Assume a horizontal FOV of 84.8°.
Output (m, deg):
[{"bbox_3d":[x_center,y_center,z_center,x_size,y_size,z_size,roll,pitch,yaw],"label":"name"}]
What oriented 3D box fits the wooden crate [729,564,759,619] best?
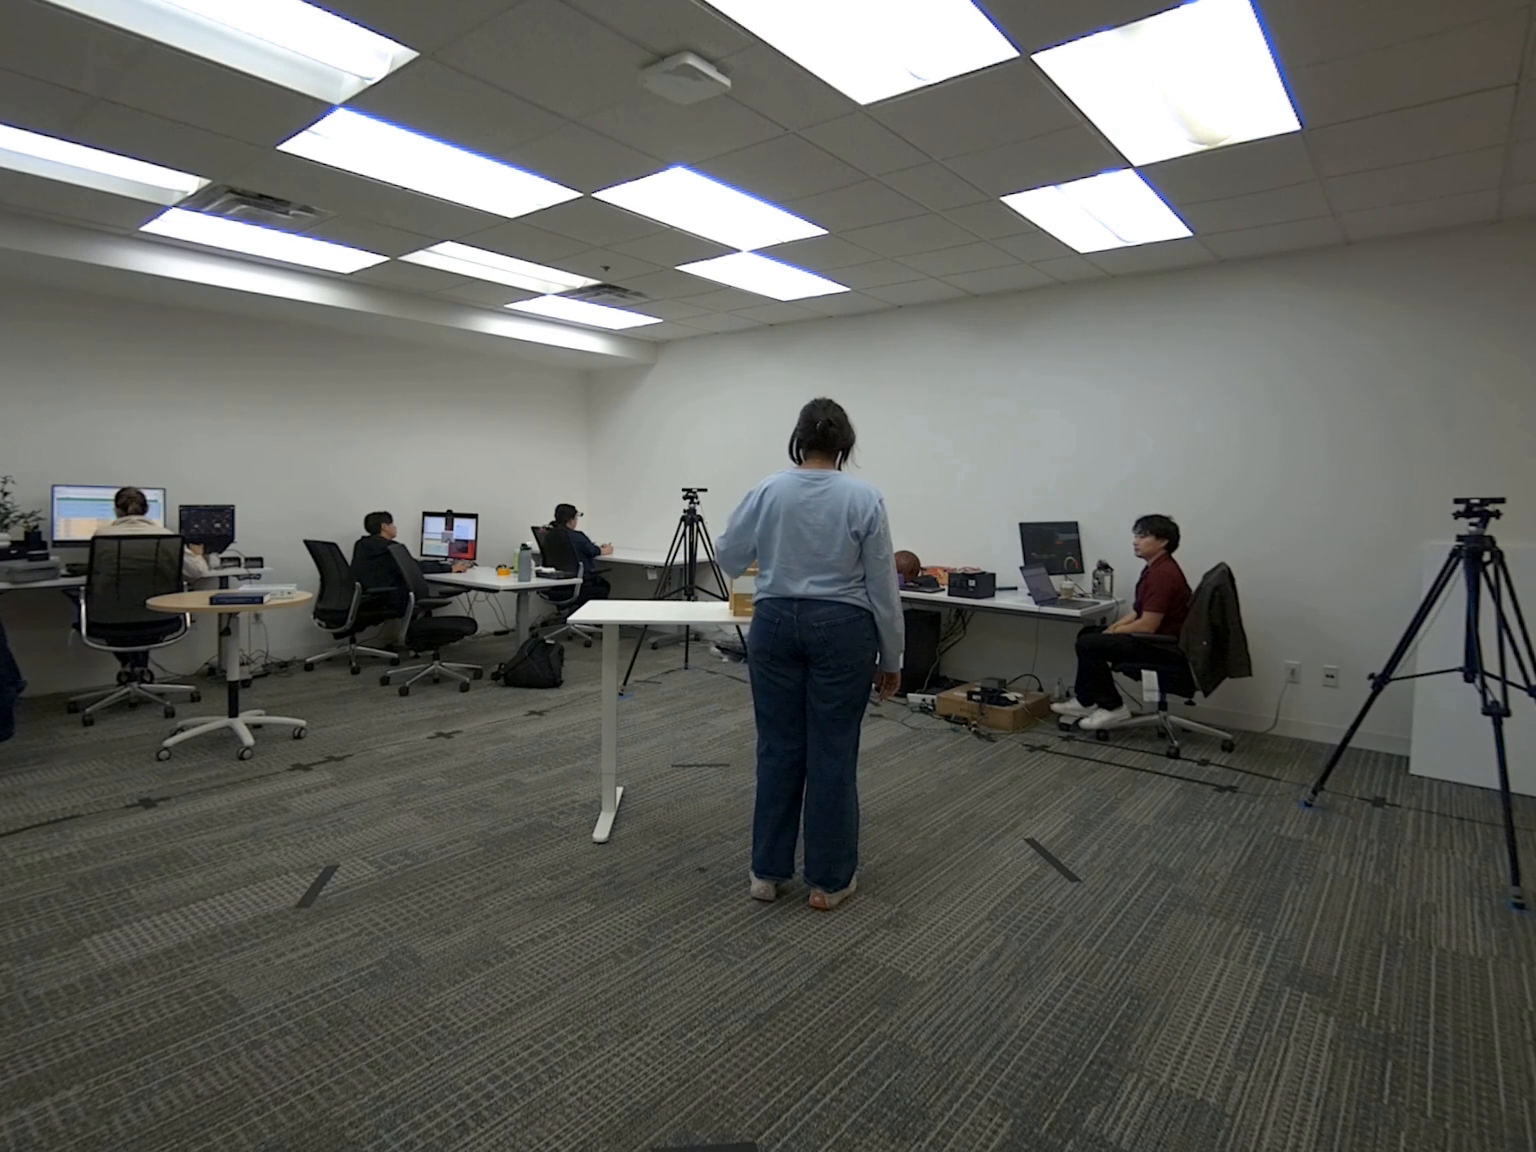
[{"bbox_3d":[-0.005,0.017,3.494,0.324,0.272,0.304,0,5,-3],"label":"wooden crate"}]
